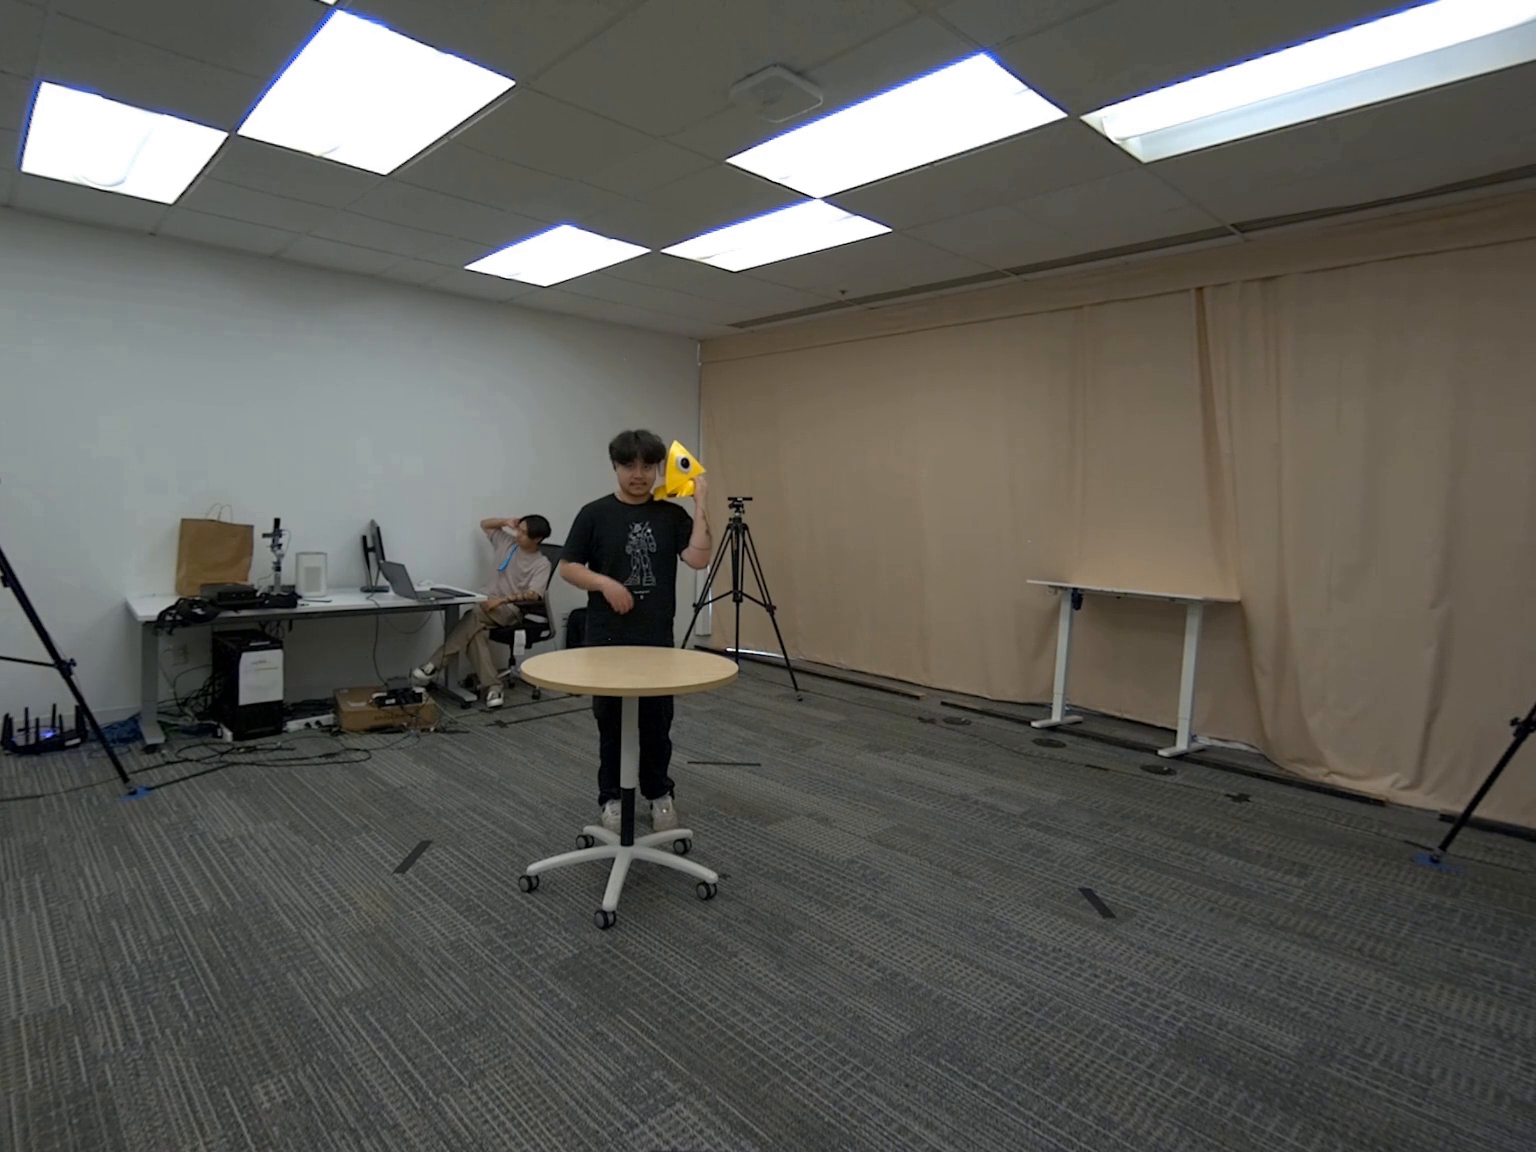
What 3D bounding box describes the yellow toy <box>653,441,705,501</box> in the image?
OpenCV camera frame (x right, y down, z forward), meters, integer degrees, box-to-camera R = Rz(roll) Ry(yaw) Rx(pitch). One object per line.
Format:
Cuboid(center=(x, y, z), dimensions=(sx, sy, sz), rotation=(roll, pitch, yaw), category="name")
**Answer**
Cuboid(center=(-0.408, -0.456, 3.564), dimensions=(0.208, 0.229, 0.192), rotation=(-6, 10, 22), category="yellow toy")
